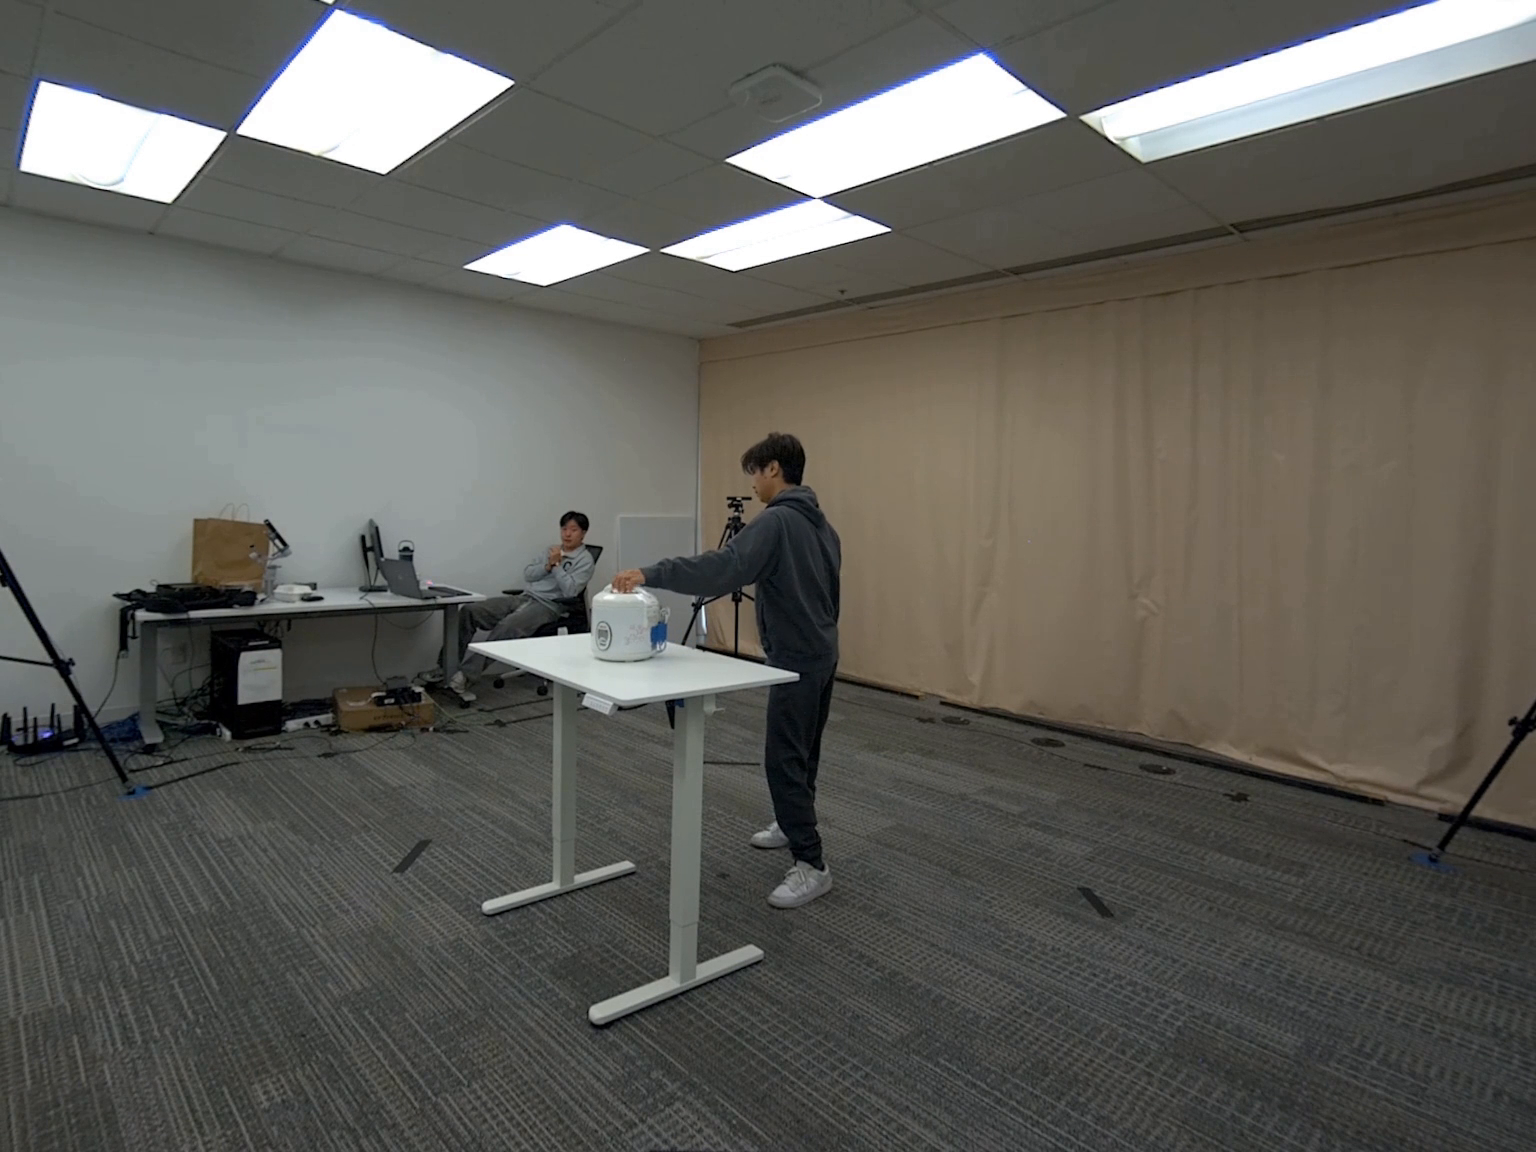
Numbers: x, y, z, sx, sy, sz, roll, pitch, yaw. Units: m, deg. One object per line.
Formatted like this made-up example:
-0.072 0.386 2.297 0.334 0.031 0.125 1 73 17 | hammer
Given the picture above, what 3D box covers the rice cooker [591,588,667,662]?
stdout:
-0.458 0.146 2.637 0.225 0.233 0.213 1 1 29 | rice cooker
